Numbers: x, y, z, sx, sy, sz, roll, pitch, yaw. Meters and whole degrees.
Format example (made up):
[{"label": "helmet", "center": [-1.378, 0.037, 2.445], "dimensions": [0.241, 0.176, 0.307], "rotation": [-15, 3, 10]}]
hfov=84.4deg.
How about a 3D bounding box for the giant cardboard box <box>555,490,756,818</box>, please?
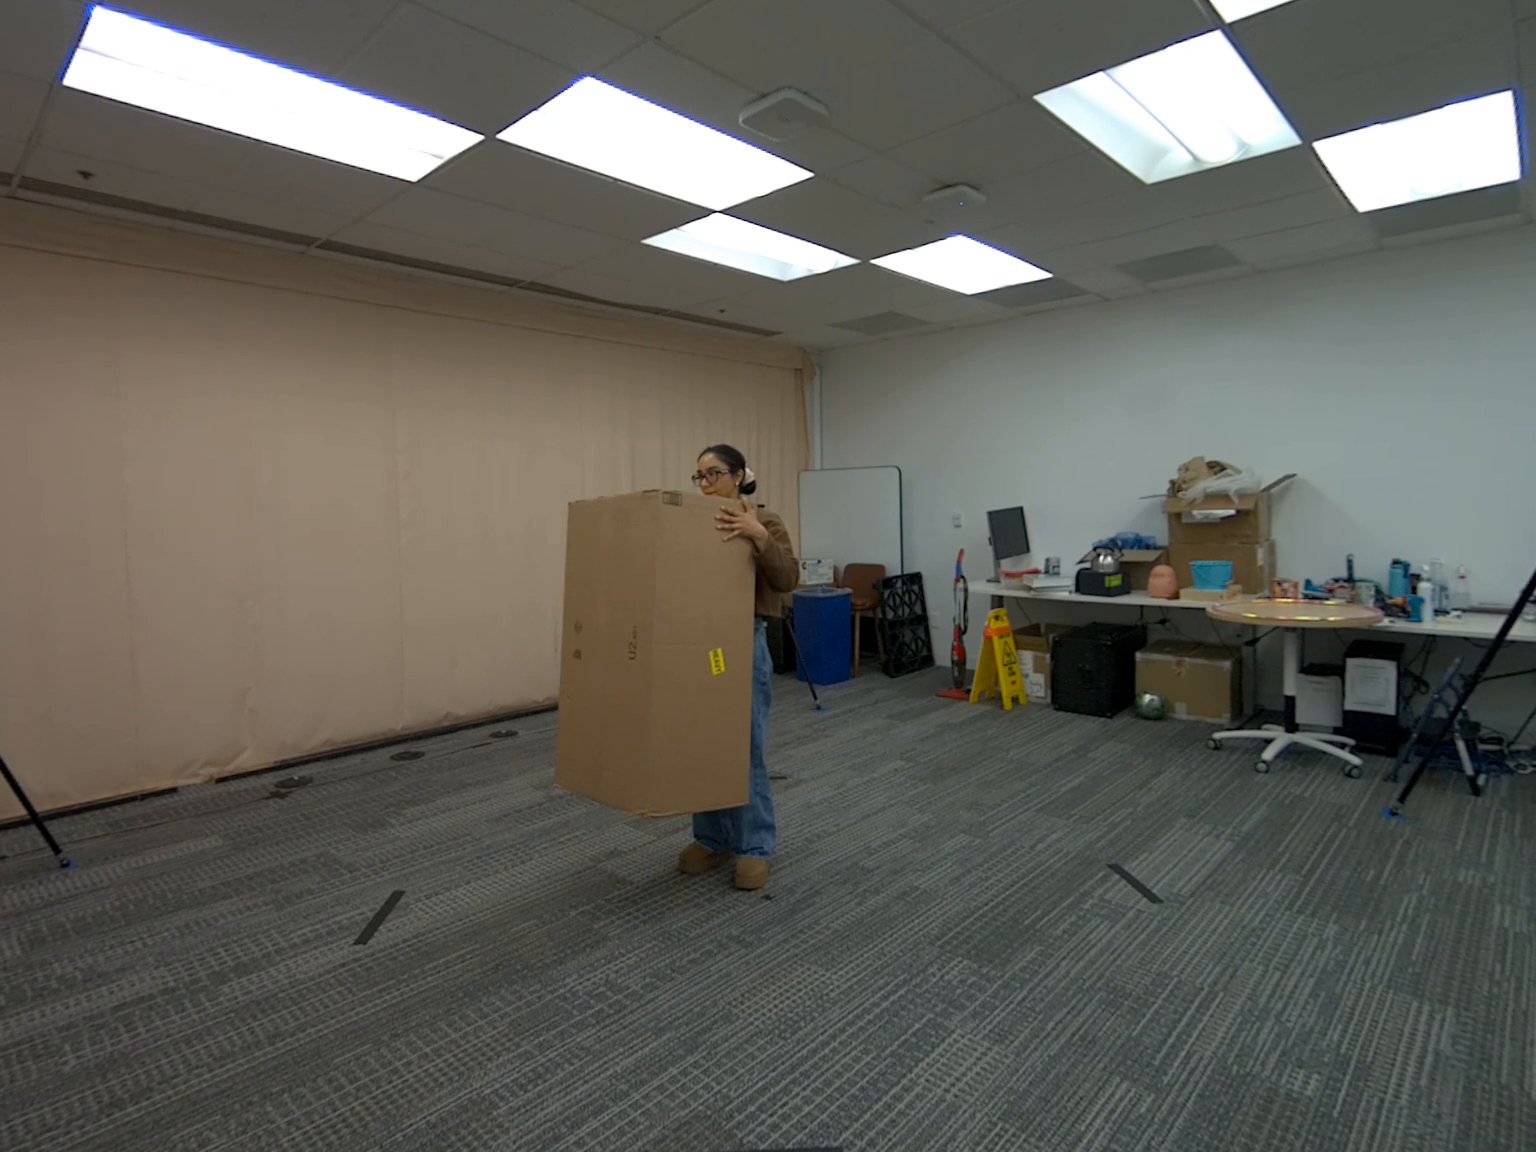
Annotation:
[{"label": "giant cardboard box", "center": [-0.403, 0.252, 2.954], "dimensions": [0.412, 1.028, 0.595], "rotation": [6, -6, -41]}]
